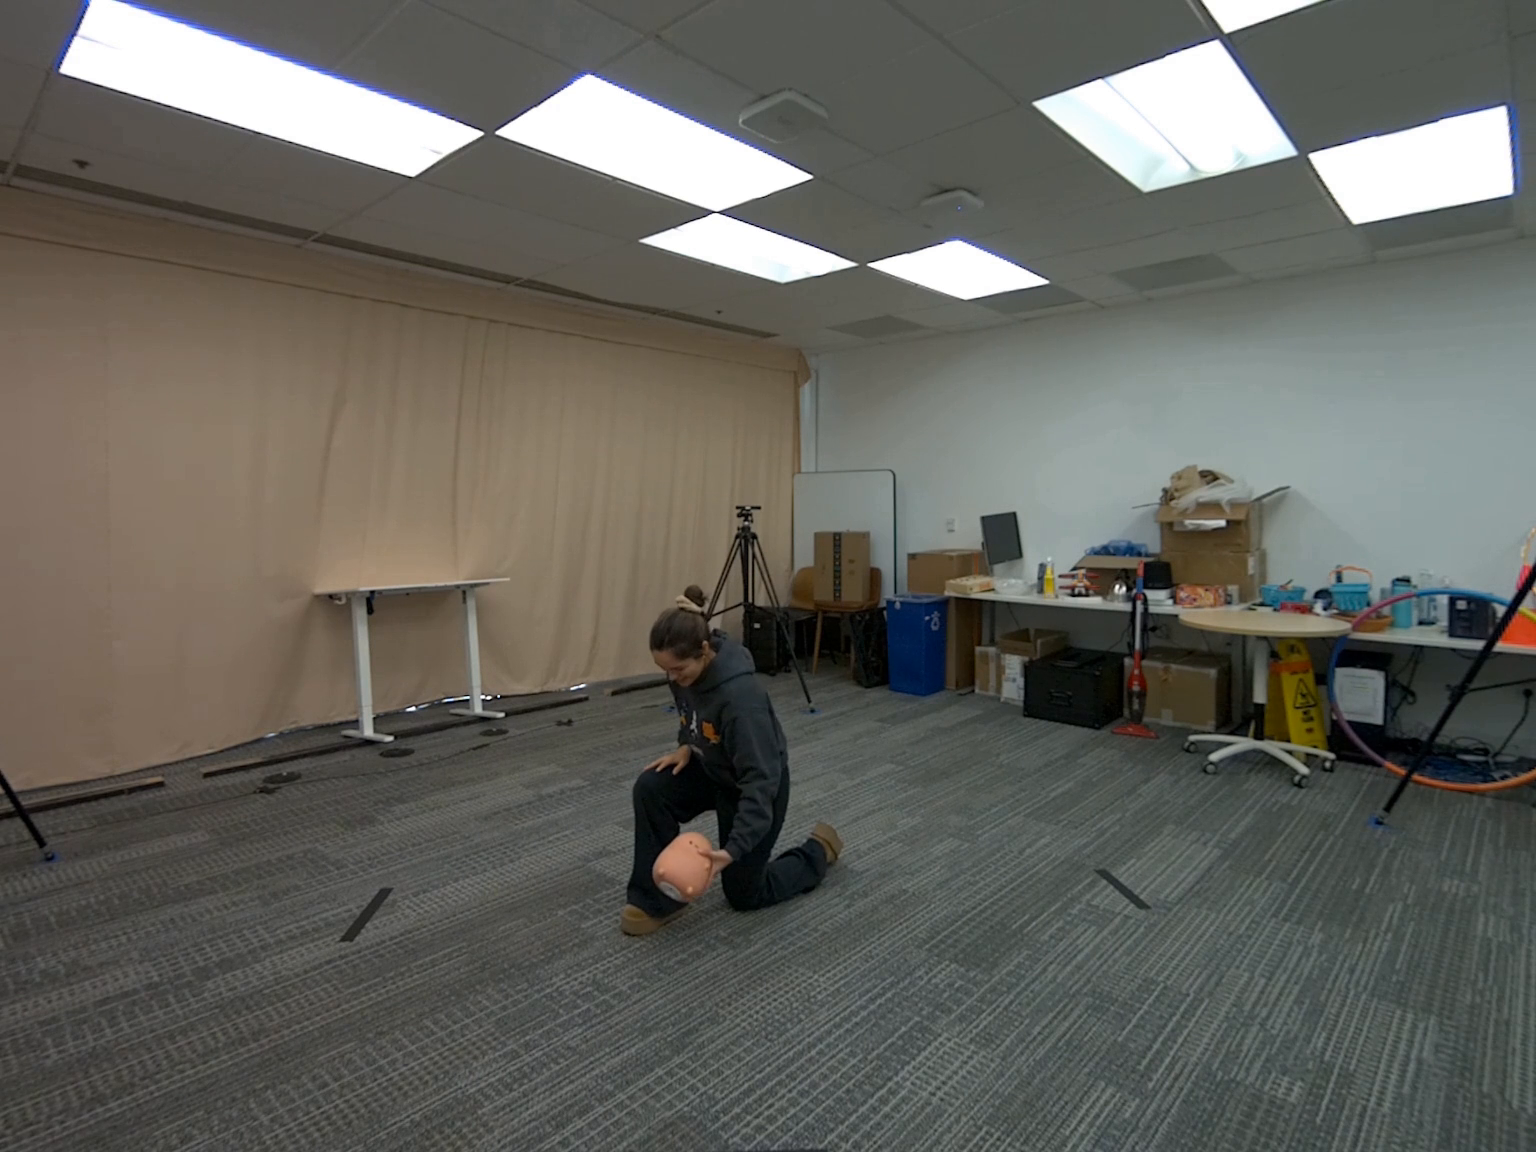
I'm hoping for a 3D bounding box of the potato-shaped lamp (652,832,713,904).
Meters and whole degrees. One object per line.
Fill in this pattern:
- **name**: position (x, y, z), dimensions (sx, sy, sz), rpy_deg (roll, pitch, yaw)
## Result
- **potato-shaped lamp**: position (-0.230, 0.865, 2.561), dimensions (0.167, 0.170, 0.197), rpy_deg (28, 51, 11)
